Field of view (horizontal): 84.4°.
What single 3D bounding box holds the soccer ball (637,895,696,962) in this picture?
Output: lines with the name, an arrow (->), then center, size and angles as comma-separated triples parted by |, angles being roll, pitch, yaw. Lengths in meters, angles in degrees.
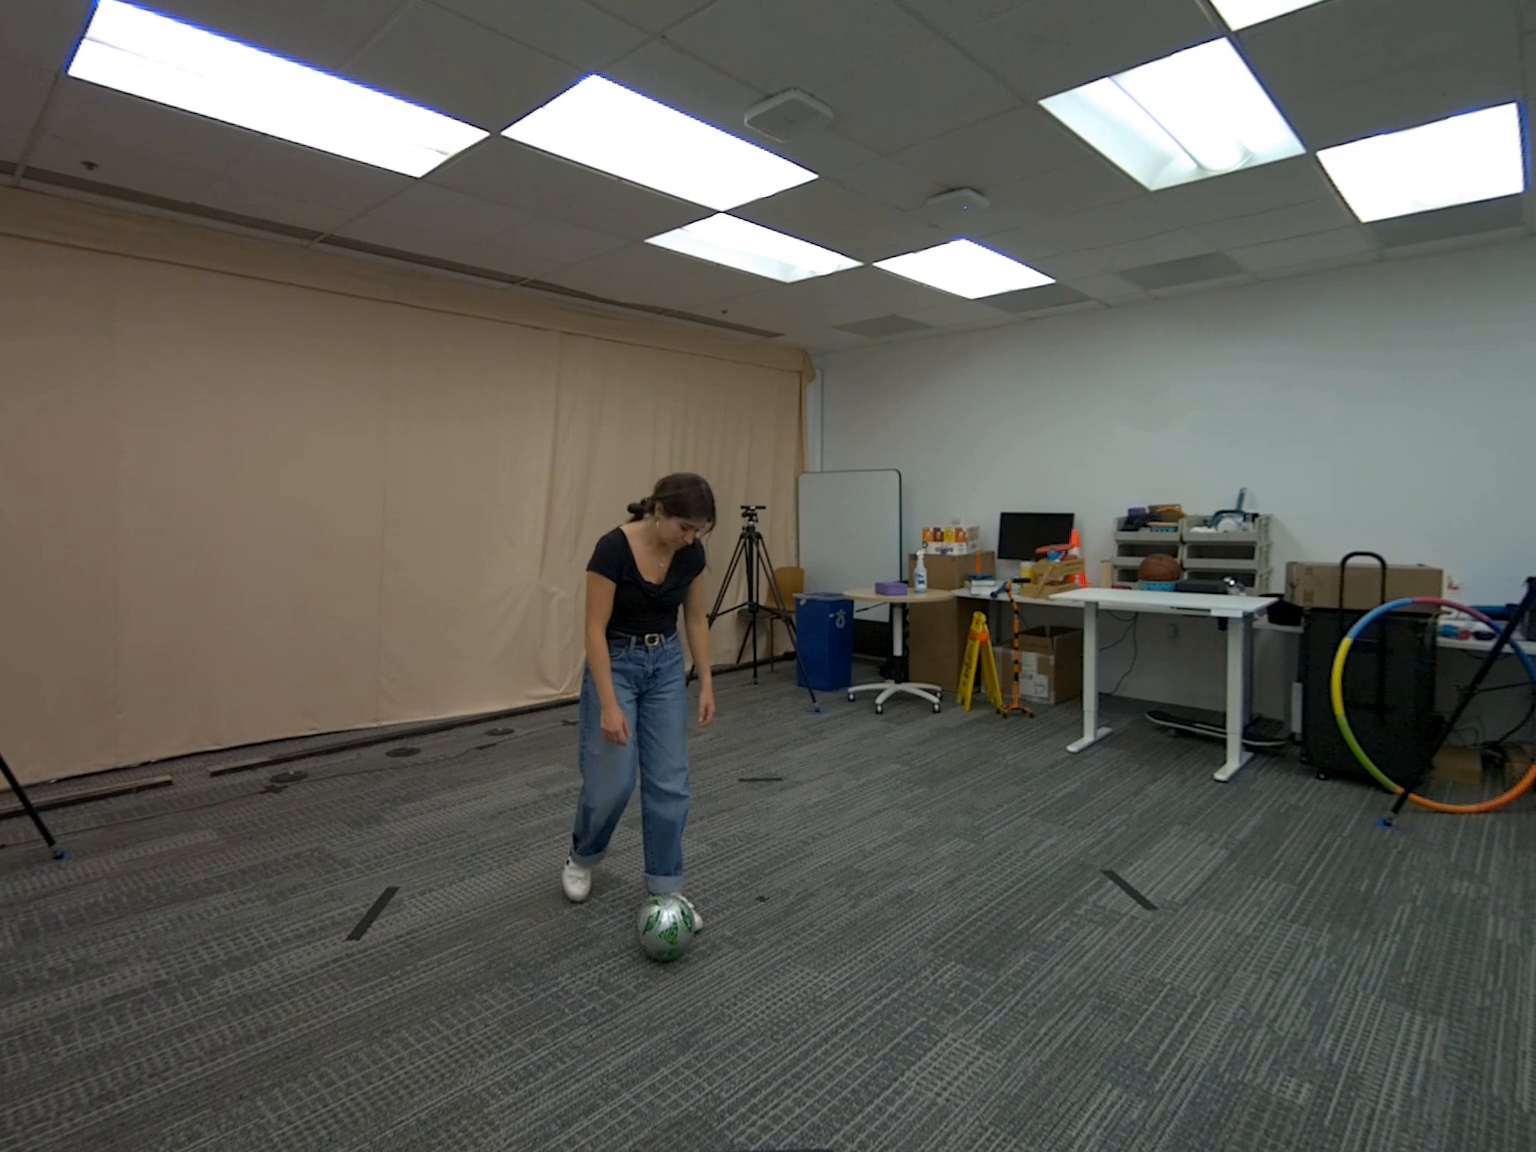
soccer ball -> -0.313, 1.078, 2.596 | 0.187, 0.187, 0.188 | 0, 4, -2
